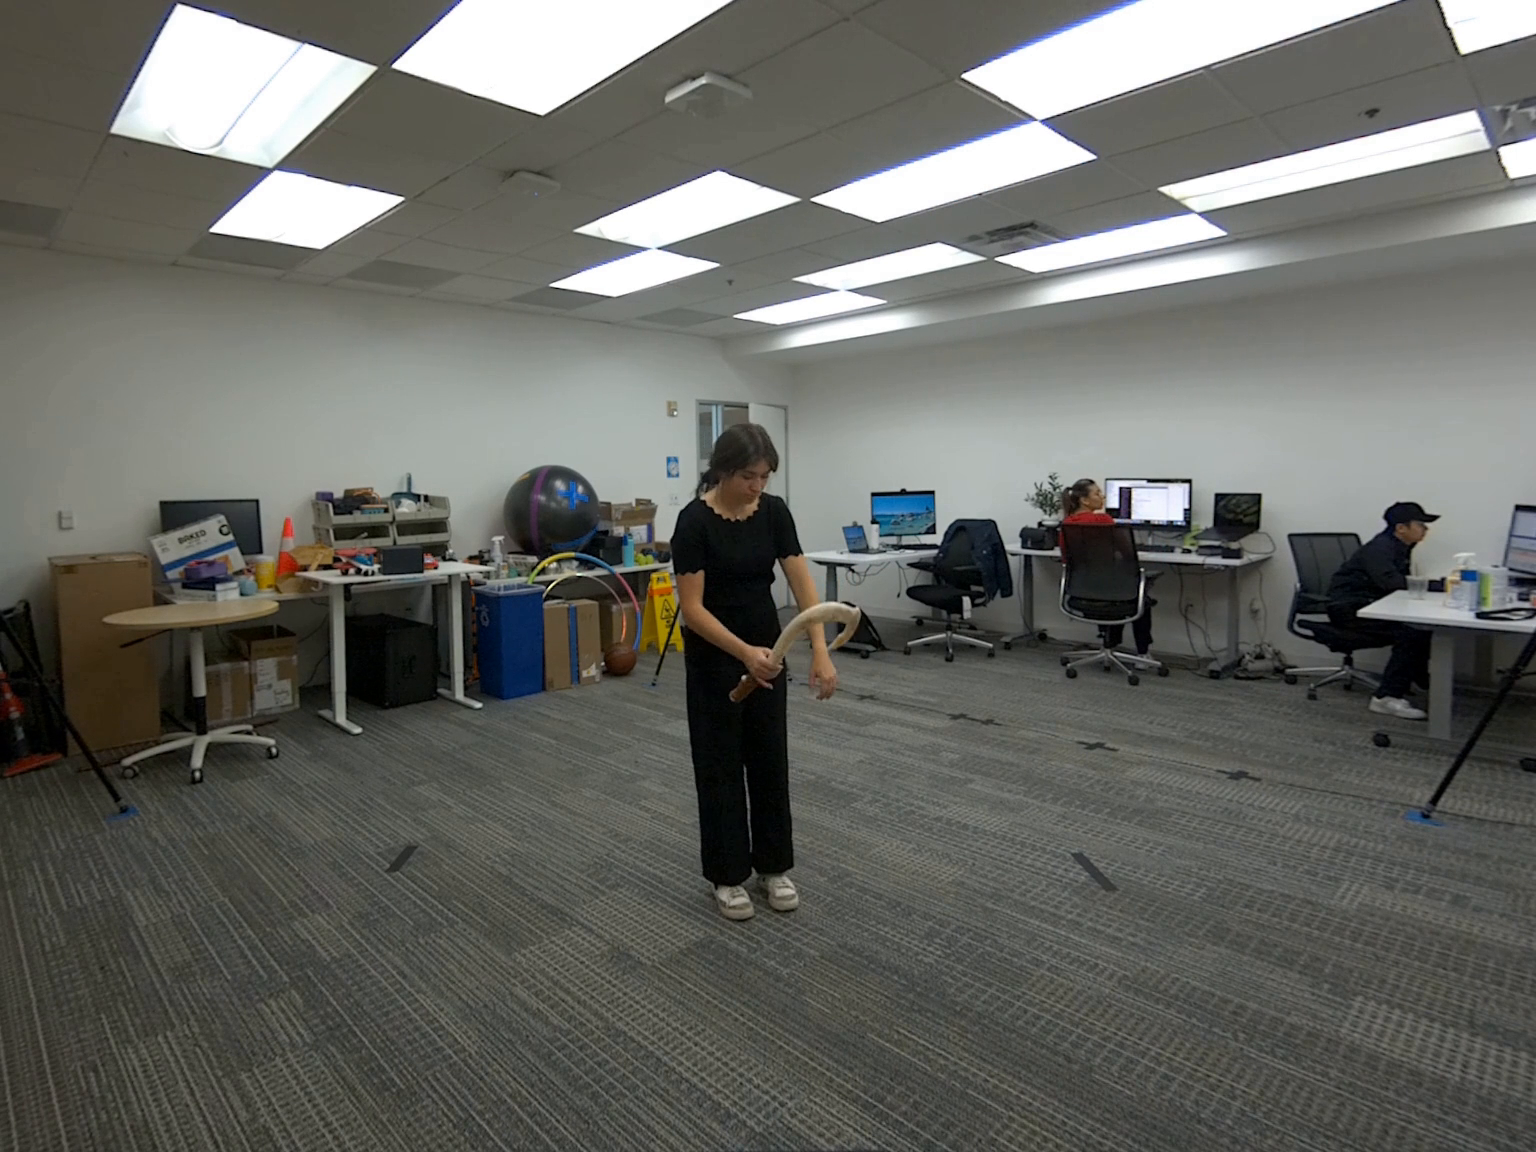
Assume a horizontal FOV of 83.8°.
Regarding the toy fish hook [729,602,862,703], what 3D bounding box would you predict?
[{"bbox_3d":[0.071,0.250,2.471,0.218,0.050,0.505,15,-45,-29],"label":"toy fish hook"}]
